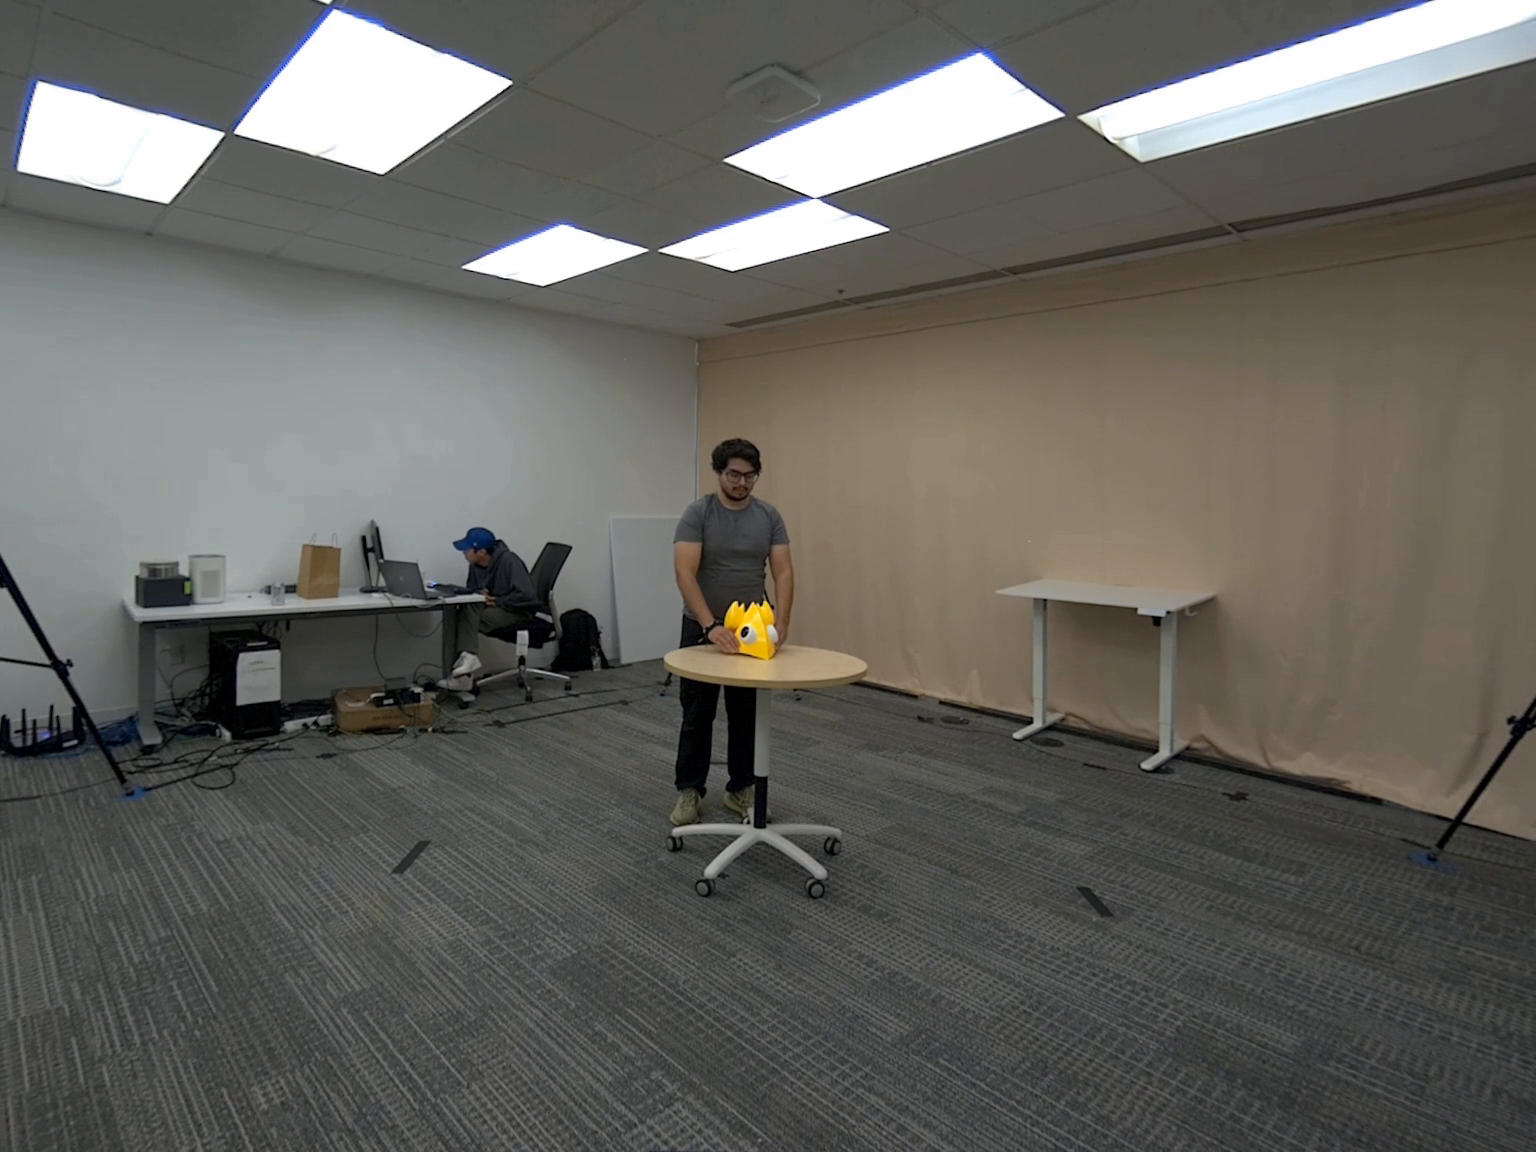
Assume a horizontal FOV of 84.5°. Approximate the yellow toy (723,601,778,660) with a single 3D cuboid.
[{"bbox_3d":[-0.045,0.227,3.282,0.201,0.191,0.237,1,17,-21],"label":"yellow toy"}]
